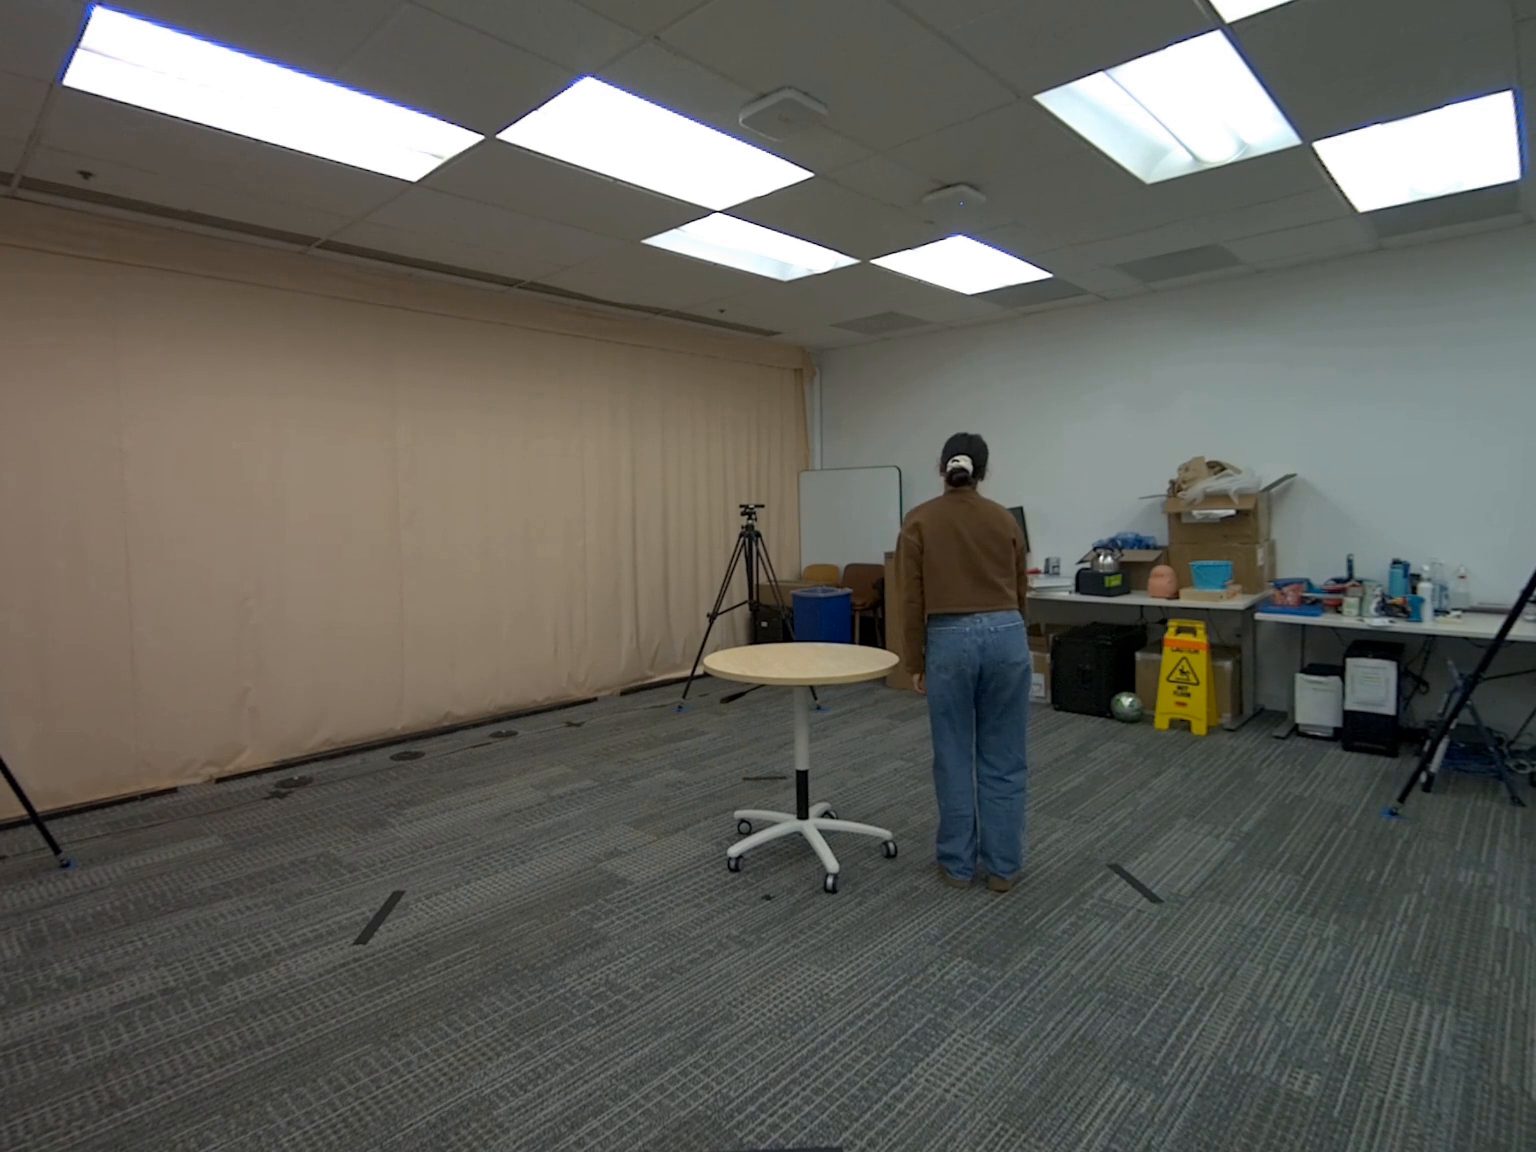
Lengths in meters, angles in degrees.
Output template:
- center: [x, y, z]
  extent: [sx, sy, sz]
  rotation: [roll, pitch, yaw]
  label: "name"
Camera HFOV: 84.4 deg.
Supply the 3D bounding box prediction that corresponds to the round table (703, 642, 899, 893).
- center: [0.123, 0.712, 3.337]
  extent: [0.784, 0.785, 0.787]
  rotation: [-1, 3, -2]
  label: "round table"
